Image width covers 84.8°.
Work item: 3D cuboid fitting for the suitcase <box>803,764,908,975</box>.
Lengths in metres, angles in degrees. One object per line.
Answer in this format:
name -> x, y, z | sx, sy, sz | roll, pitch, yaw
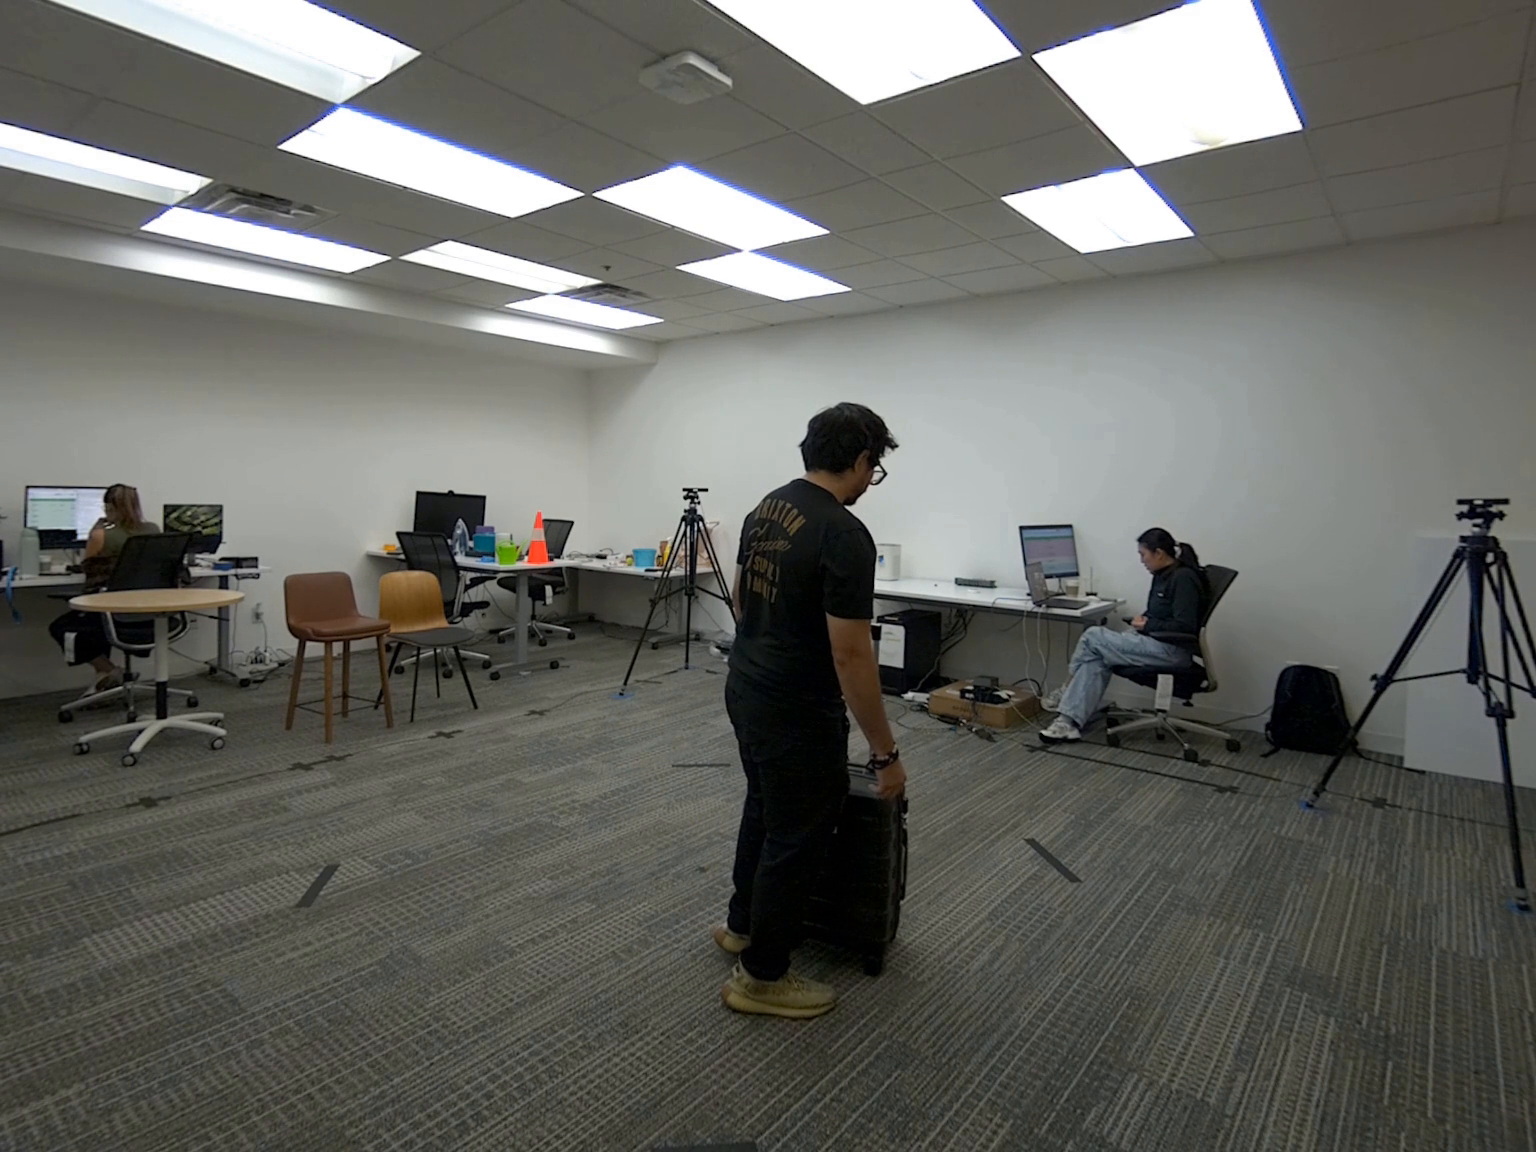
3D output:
suitcase -> 0.238, 0.652, 2.593 | 0.392, 0.975, 0.253 | 3, 4, 18
